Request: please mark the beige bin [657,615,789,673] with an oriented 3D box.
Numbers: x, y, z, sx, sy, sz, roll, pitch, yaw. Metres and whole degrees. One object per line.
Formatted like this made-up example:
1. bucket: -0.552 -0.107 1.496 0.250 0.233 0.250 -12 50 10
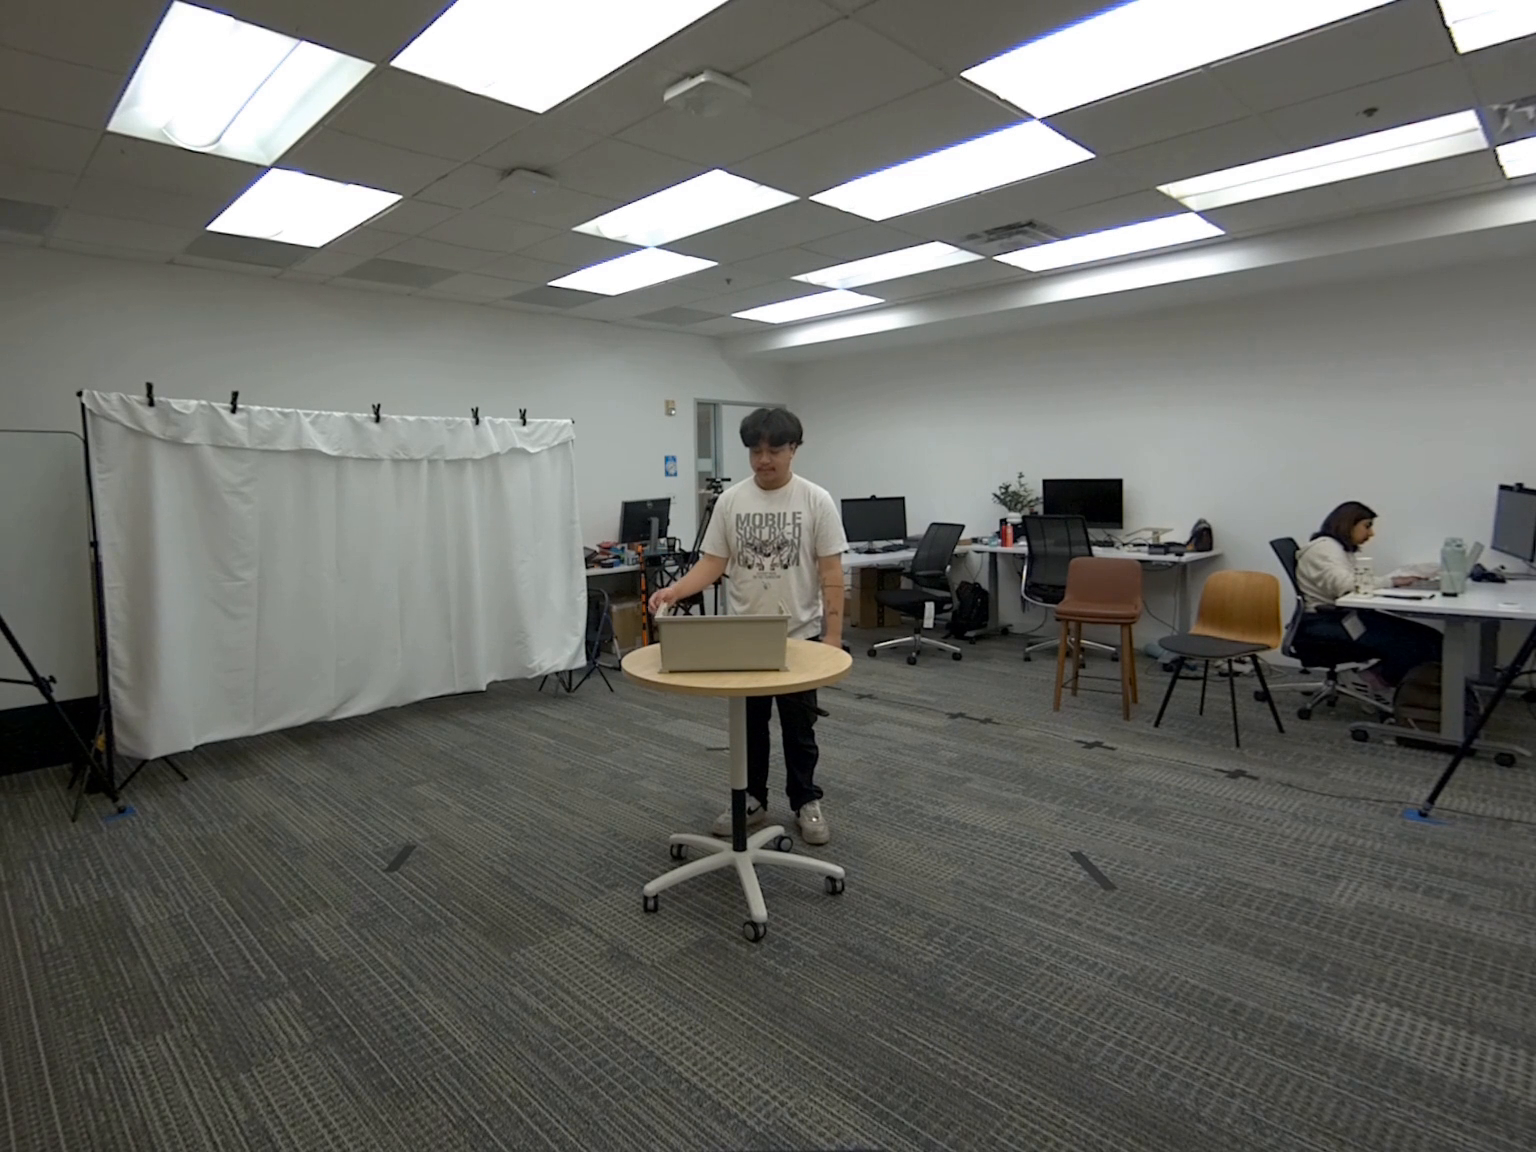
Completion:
1. beige bin: -0.150 0.197 2.837 0.422 0.188 0.380 0 7 -1
